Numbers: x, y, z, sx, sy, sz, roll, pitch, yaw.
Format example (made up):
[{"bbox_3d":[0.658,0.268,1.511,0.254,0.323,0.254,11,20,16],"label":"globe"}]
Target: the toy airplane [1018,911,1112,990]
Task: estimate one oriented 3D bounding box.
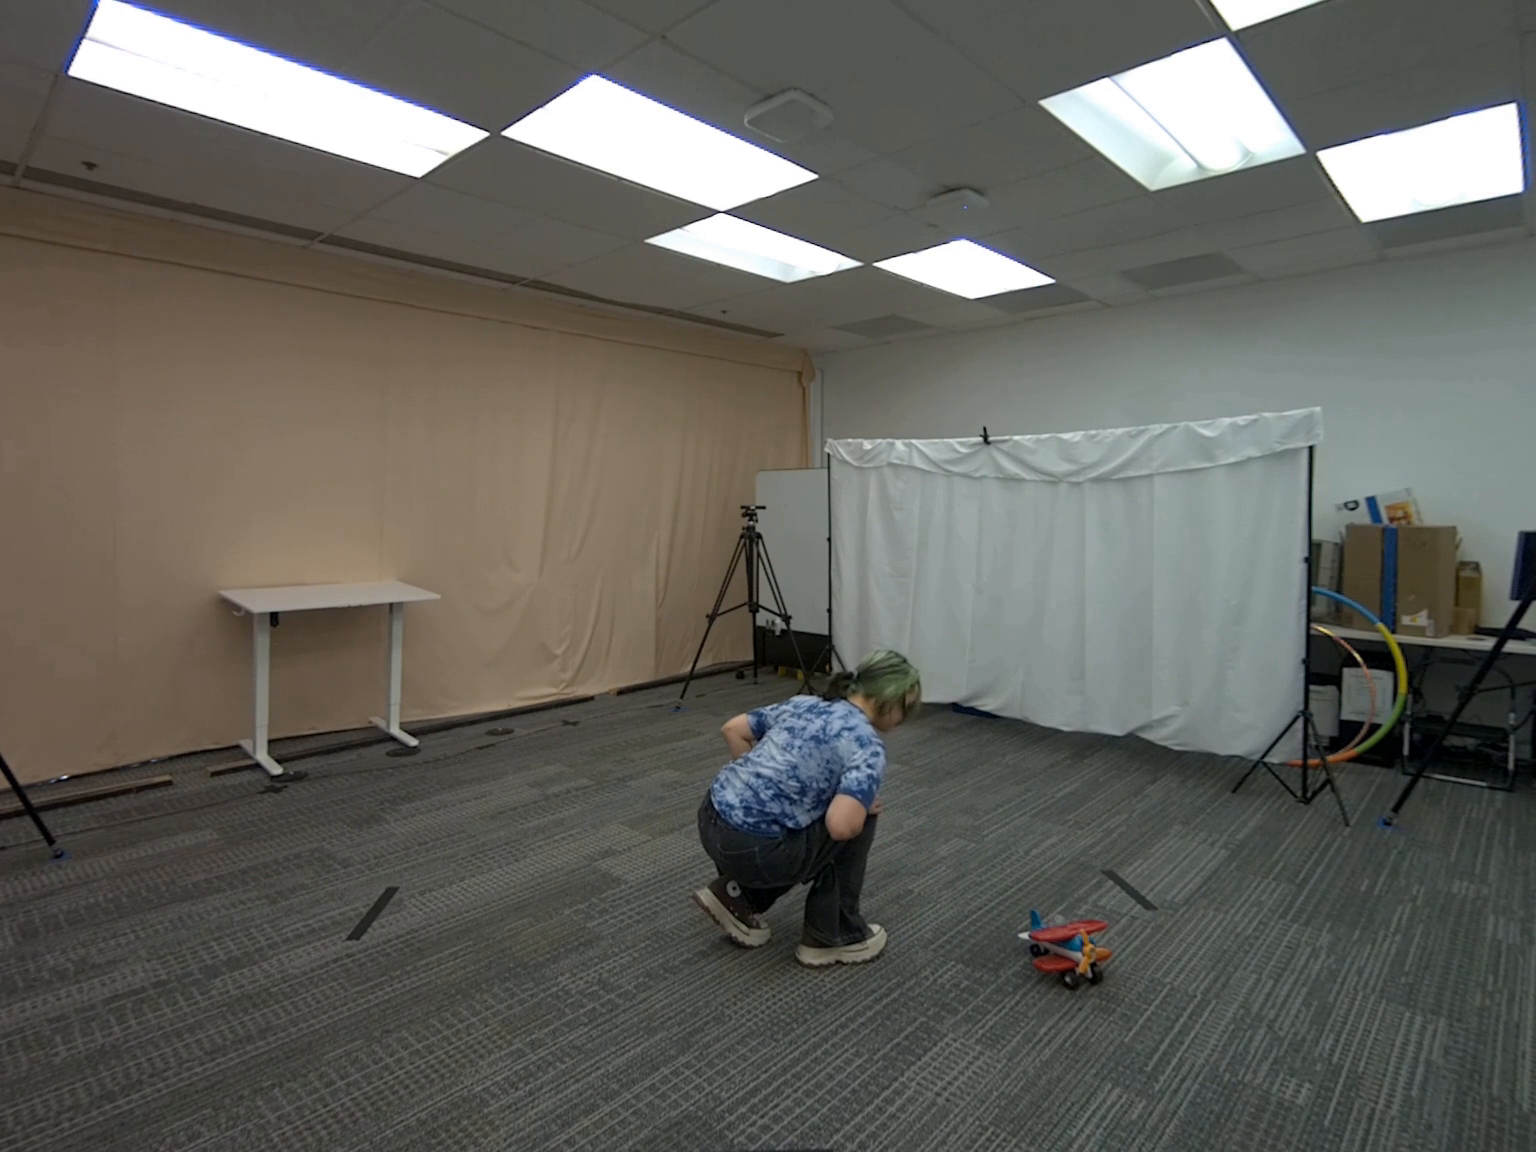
[{"bbox_3d":[0.873,1.112,2.504,0.268,0.156,0.243,5,7,42],"label":"toy airplane"}]
